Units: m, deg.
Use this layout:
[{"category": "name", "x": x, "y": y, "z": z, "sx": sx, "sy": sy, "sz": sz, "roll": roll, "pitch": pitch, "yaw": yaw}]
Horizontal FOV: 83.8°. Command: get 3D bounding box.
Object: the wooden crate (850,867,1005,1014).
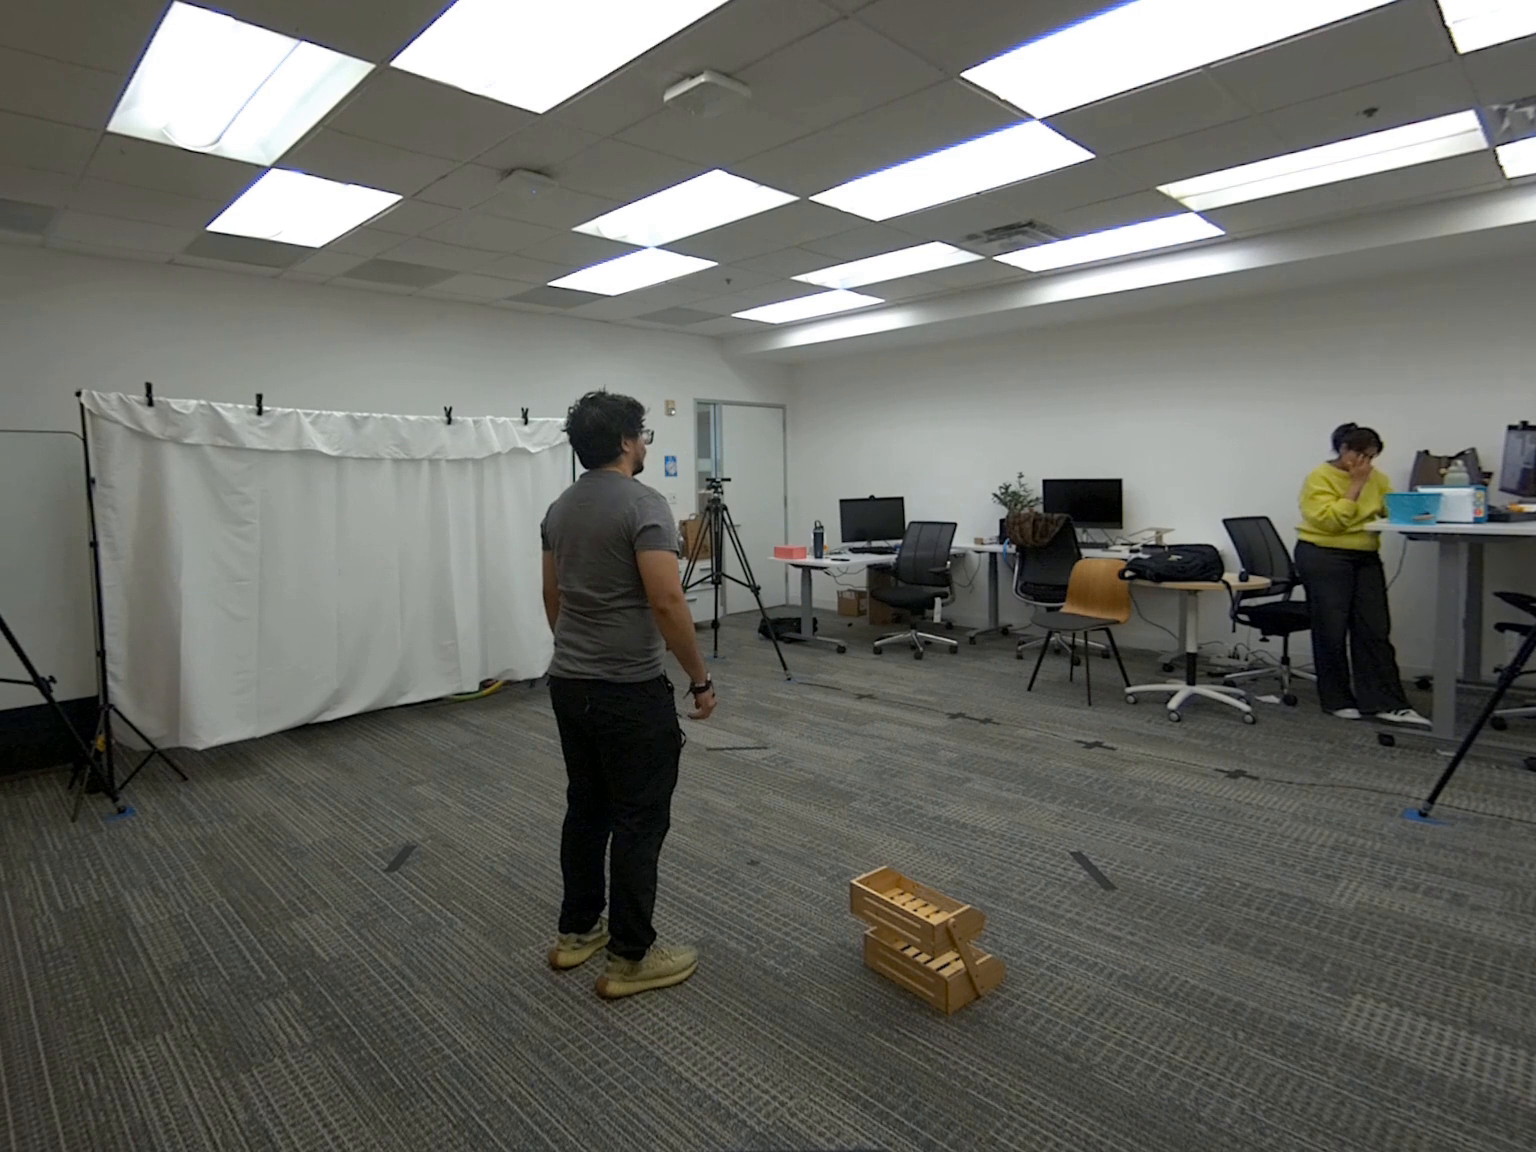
[{"category": "wooden crate", "x": 0.462, "y": 0.993, "z": 2.383, "sx": 0.294, "sy": 0.272, "sz": 0.335, "roll": -6, "pitch": 8, "yaw": -39}]
